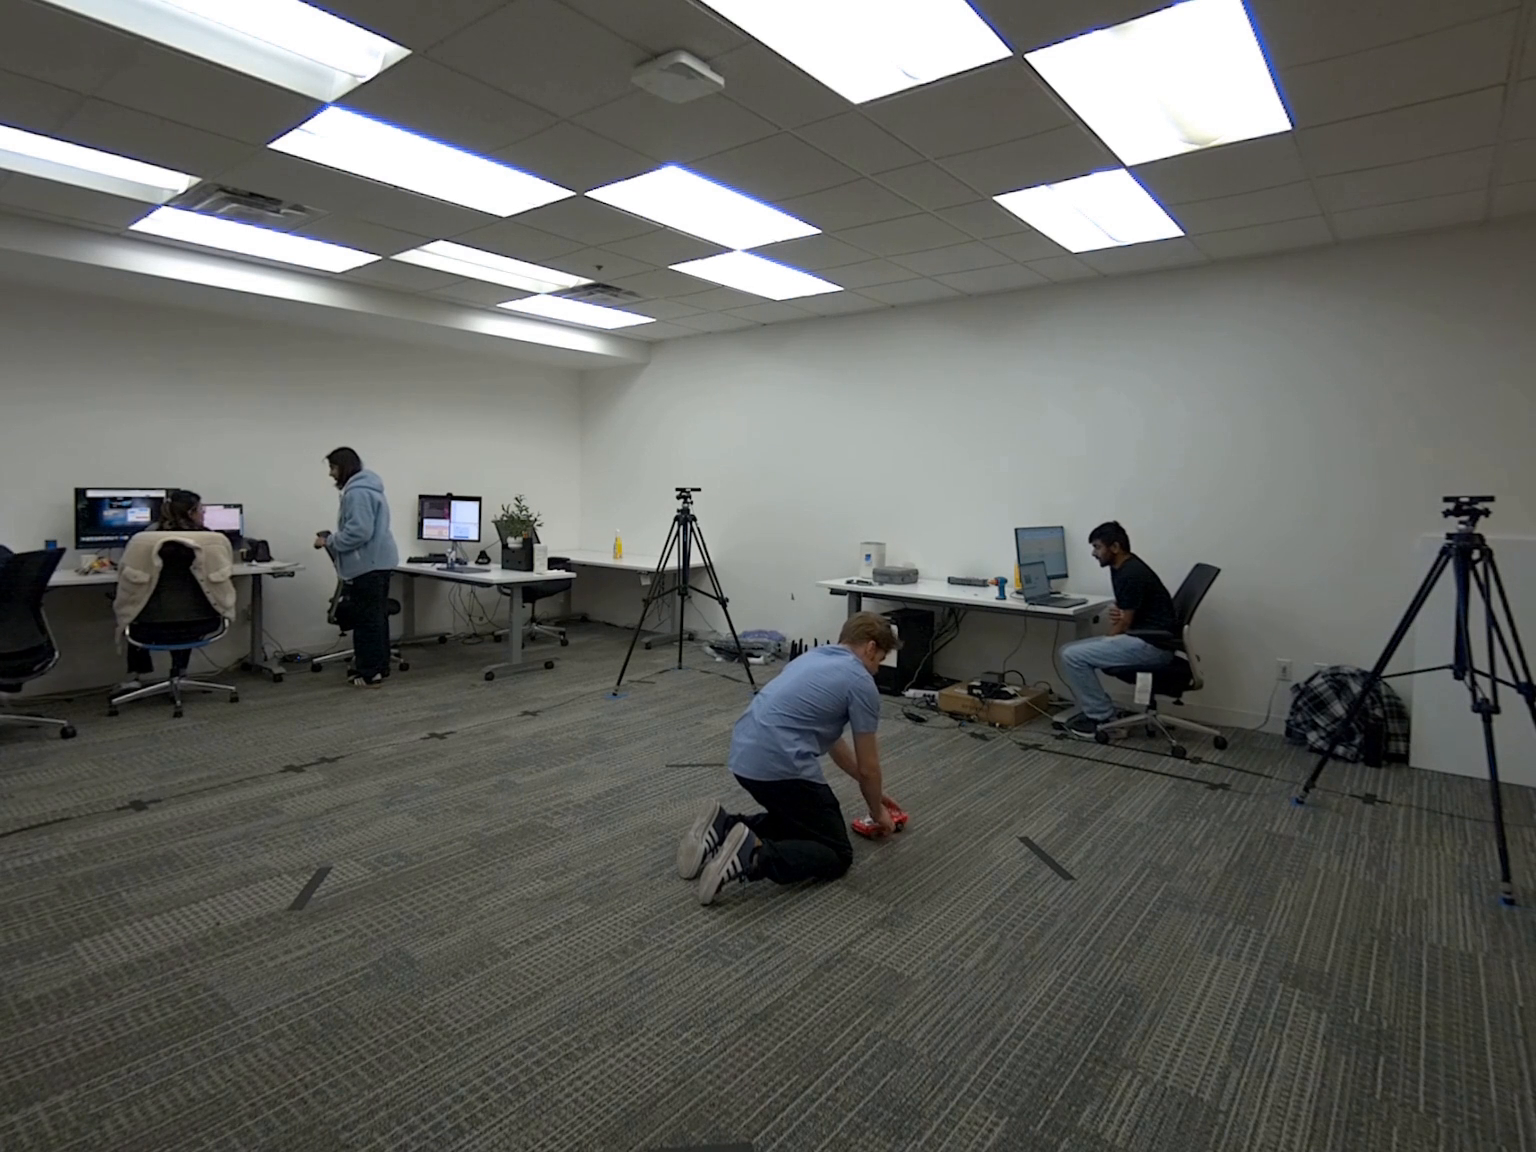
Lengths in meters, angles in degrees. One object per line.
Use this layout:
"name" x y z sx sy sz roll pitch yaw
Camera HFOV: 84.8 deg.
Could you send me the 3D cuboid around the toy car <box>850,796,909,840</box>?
"toy car" 0.462 1.013 3.504 0.249 0.082 0.134 -13 12 -32
